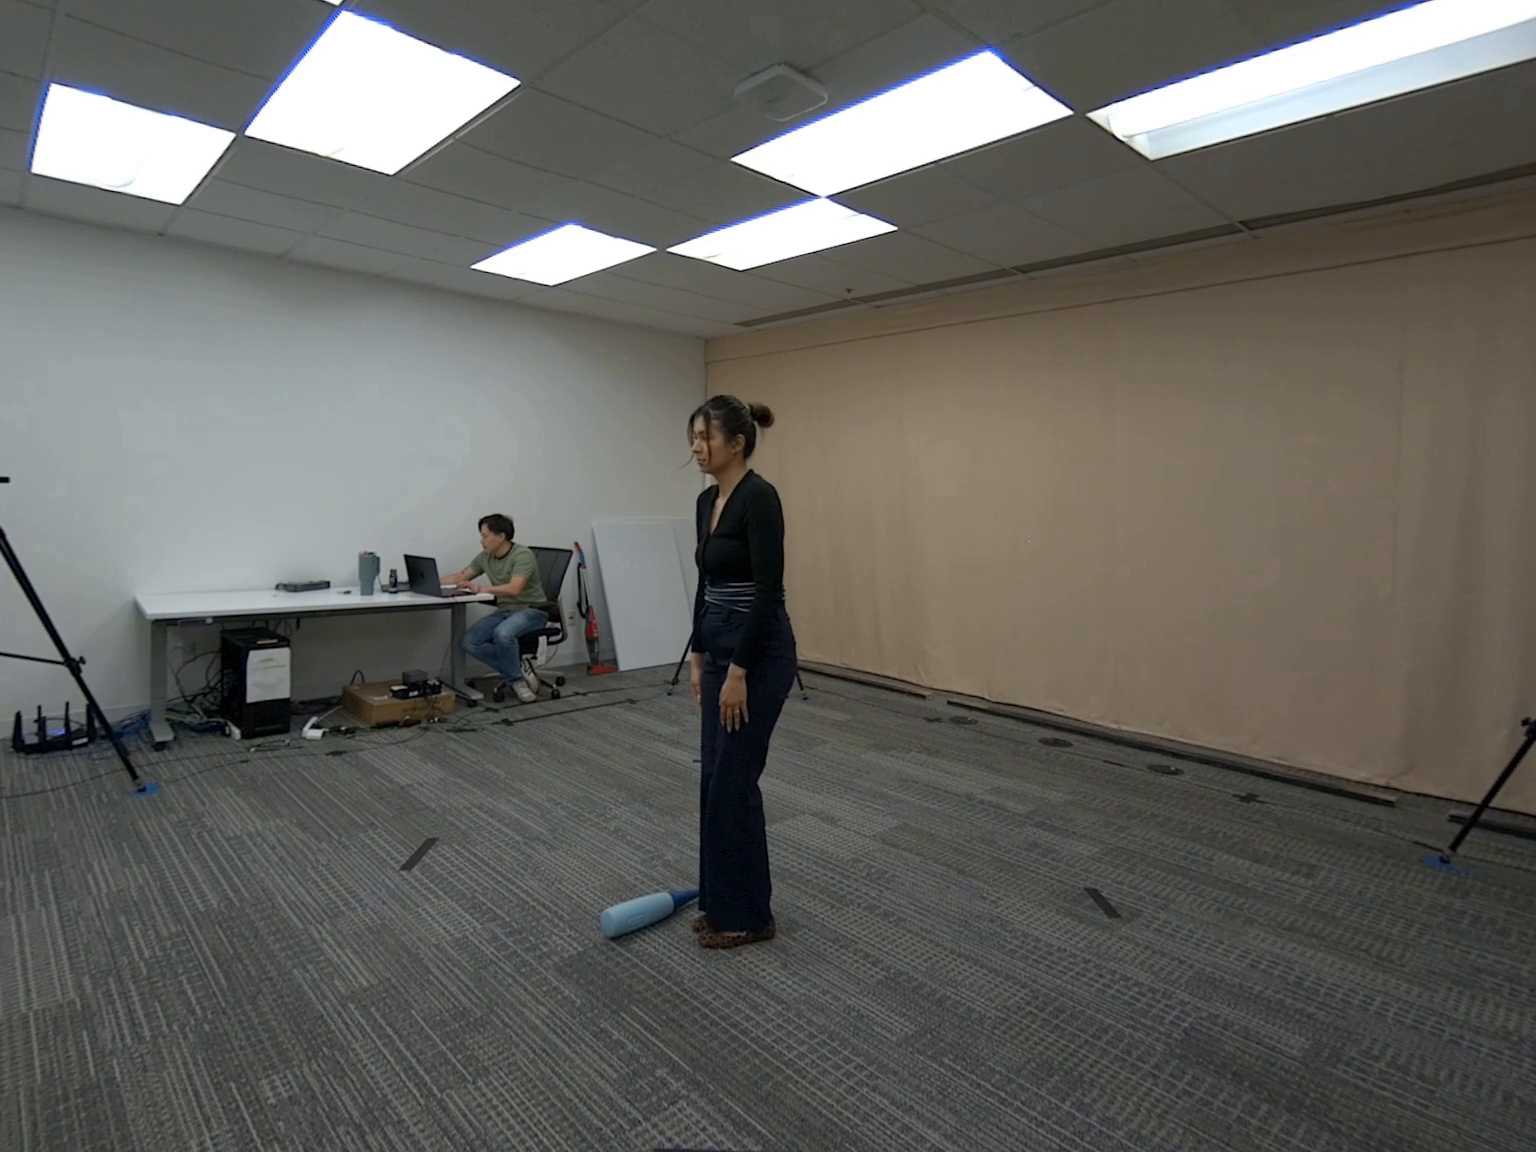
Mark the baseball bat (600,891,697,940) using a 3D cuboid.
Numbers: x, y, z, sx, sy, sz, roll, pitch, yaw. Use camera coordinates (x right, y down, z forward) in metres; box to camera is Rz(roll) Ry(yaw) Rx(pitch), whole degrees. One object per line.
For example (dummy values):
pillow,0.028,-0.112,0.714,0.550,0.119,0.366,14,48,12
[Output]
baseball bat,-0.323,1.092,2.808,0.091,0.089,0.530,5,3,44
